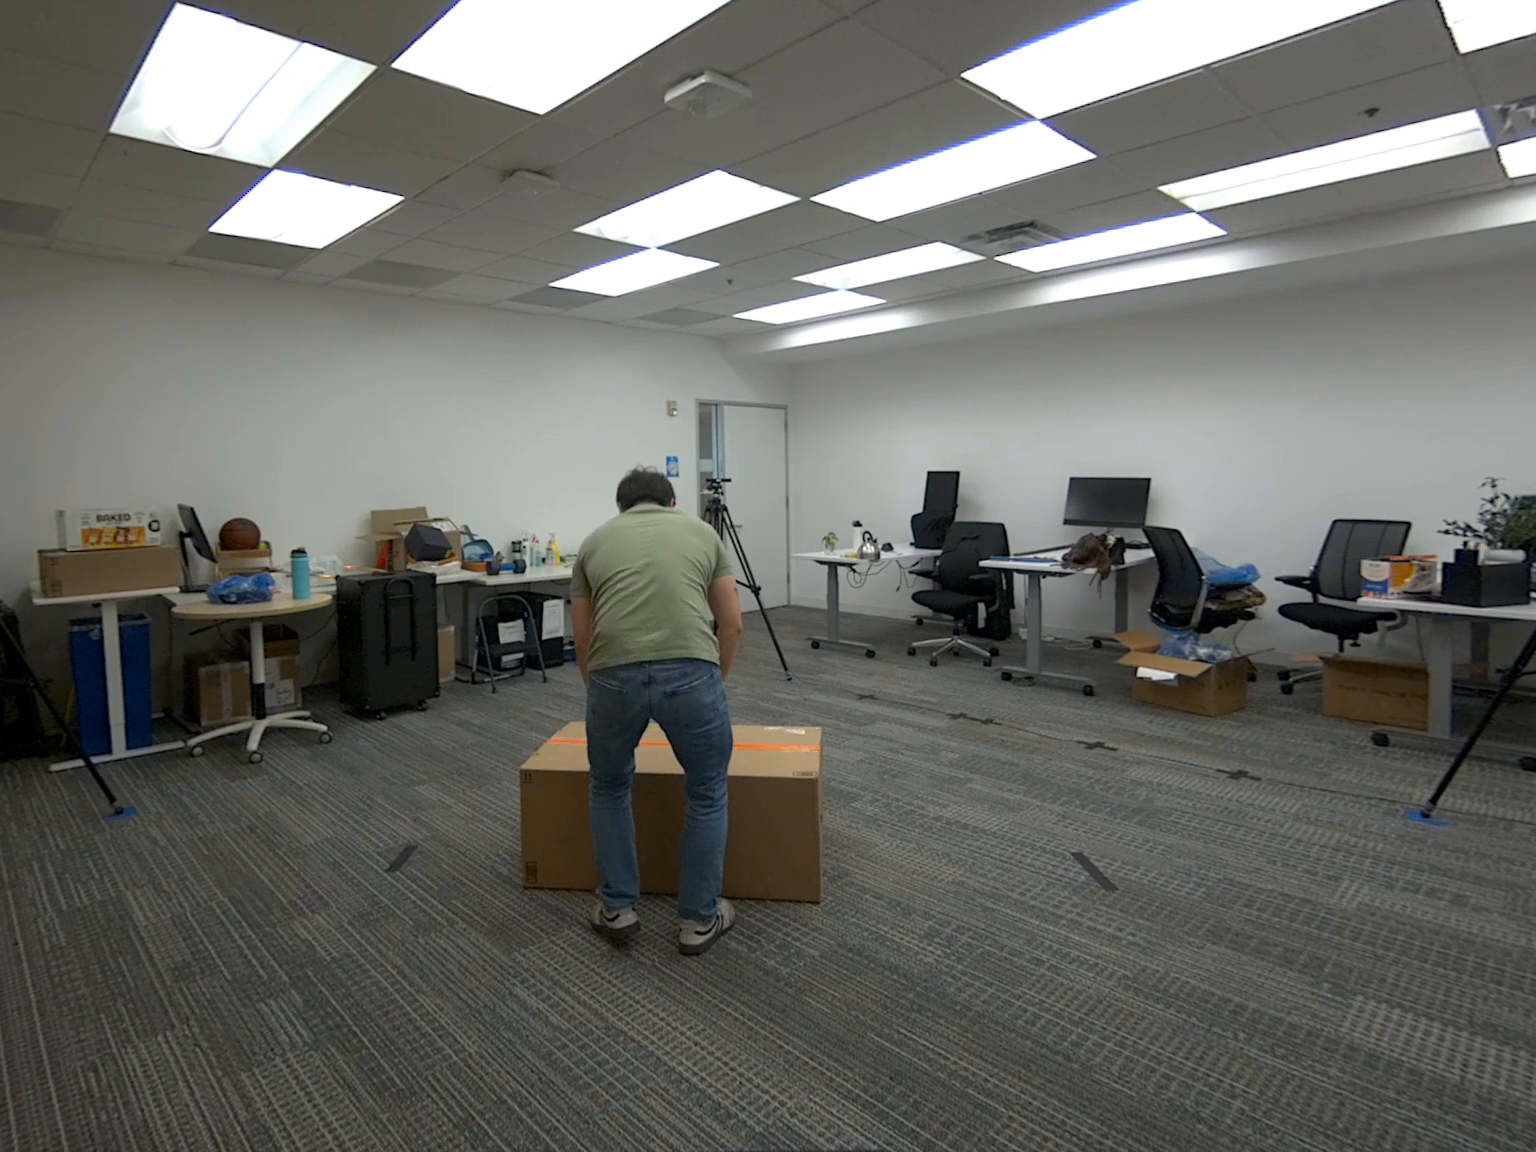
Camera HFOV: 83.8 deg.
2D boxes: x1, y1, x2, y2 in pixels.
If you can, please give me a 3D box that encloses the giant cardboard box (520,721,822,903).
[{"bbox_3d":[-0.315,0.826,3.140,1.034,0.425,0.575,0,5,7],"label":"giant cardboard box"}]
